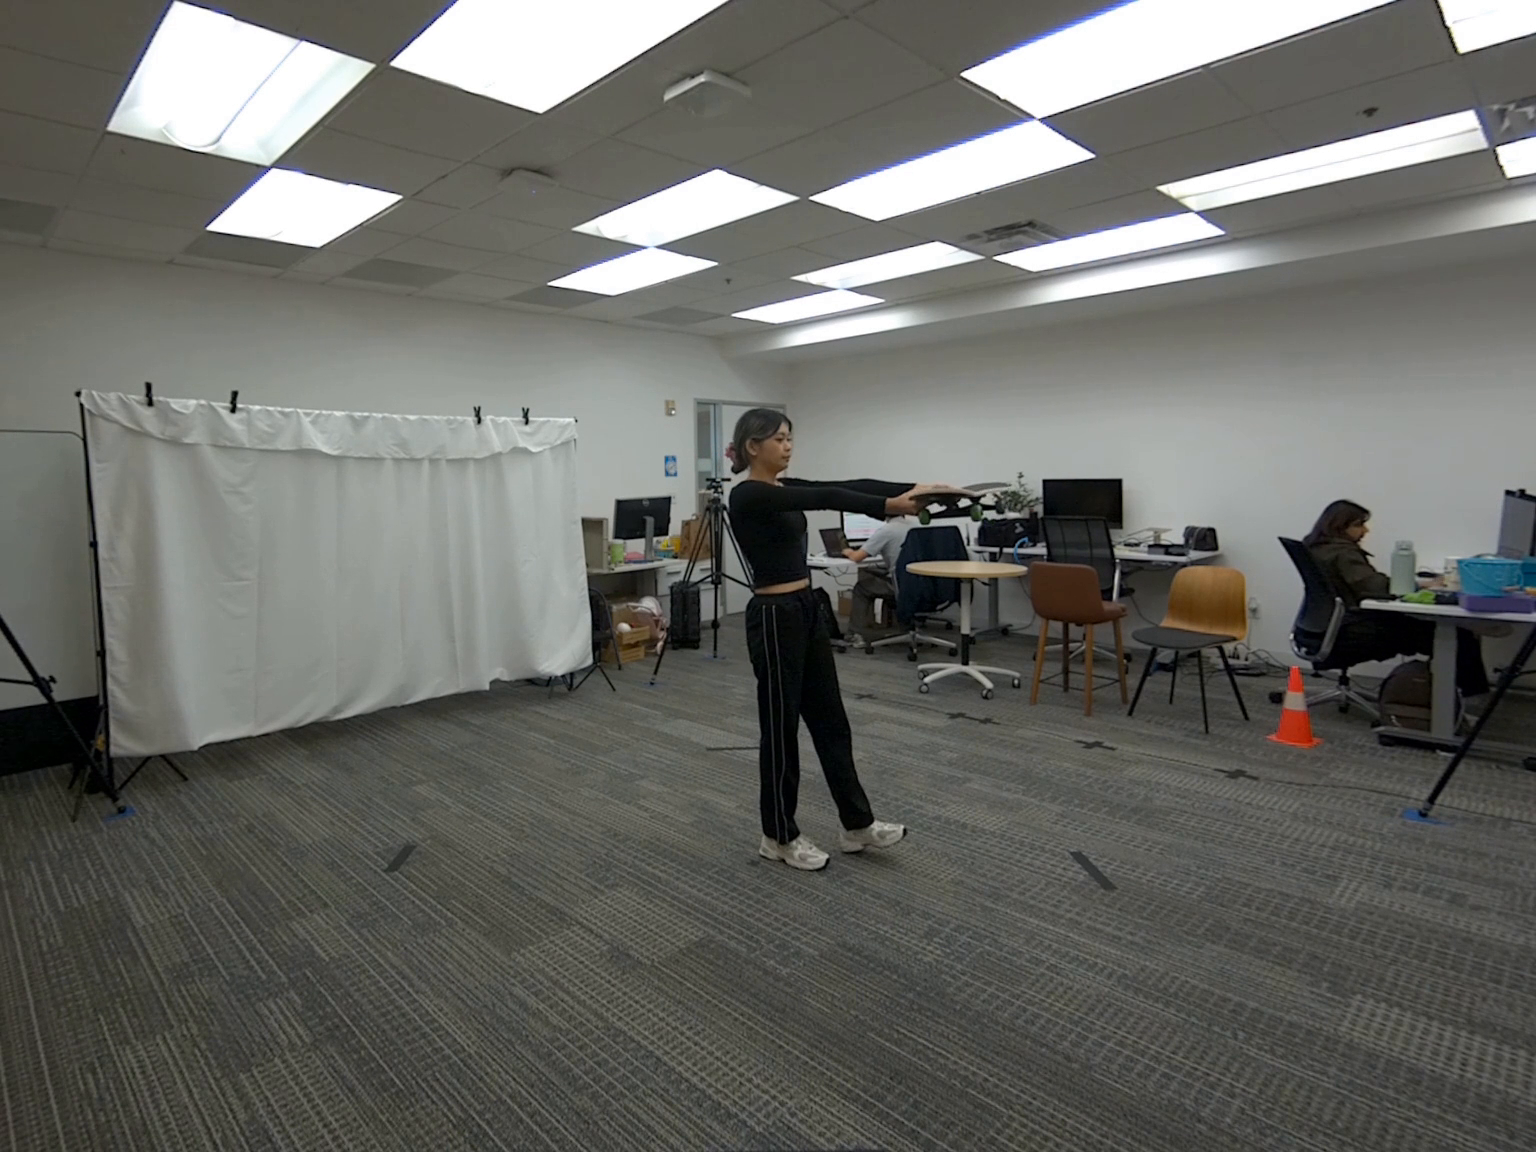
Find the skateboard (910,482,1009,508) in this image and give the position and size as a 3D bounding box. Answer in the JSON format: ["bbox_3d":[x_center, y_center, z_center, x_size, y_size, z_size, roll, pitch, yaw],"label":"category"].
[{"bbox_3d":[0.625,-0.240,2.729,0.198,0.110,0.770,-4,5,29],"label":"skateboard"}]
